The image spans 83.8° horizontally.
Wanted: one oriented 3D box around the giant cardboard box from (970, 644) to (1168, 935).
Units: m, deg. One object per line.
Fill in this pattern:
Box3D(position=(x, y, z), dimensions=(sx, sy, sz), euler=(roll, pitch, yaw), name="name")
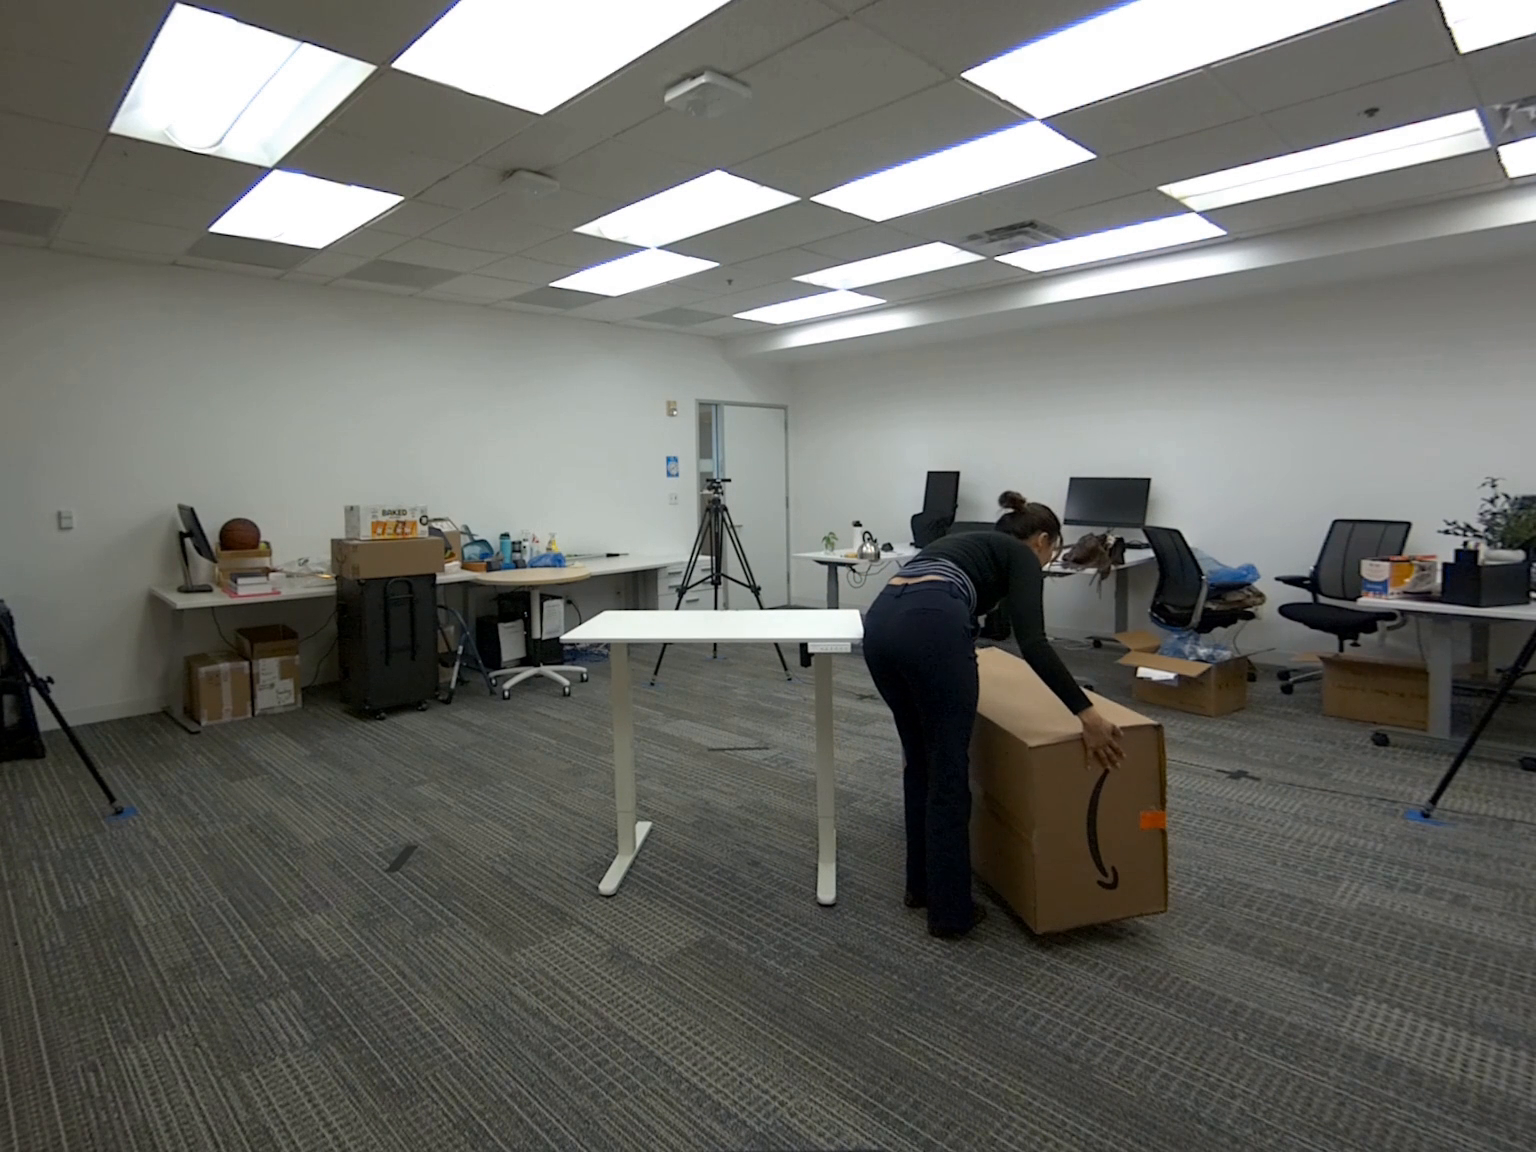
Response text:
Box3D(position=(0.854, 0.663, 2.971), dimensions=(0.423, 0.574, 1.042), euler=(-5, 8, -10), name="giant cardboard box")
